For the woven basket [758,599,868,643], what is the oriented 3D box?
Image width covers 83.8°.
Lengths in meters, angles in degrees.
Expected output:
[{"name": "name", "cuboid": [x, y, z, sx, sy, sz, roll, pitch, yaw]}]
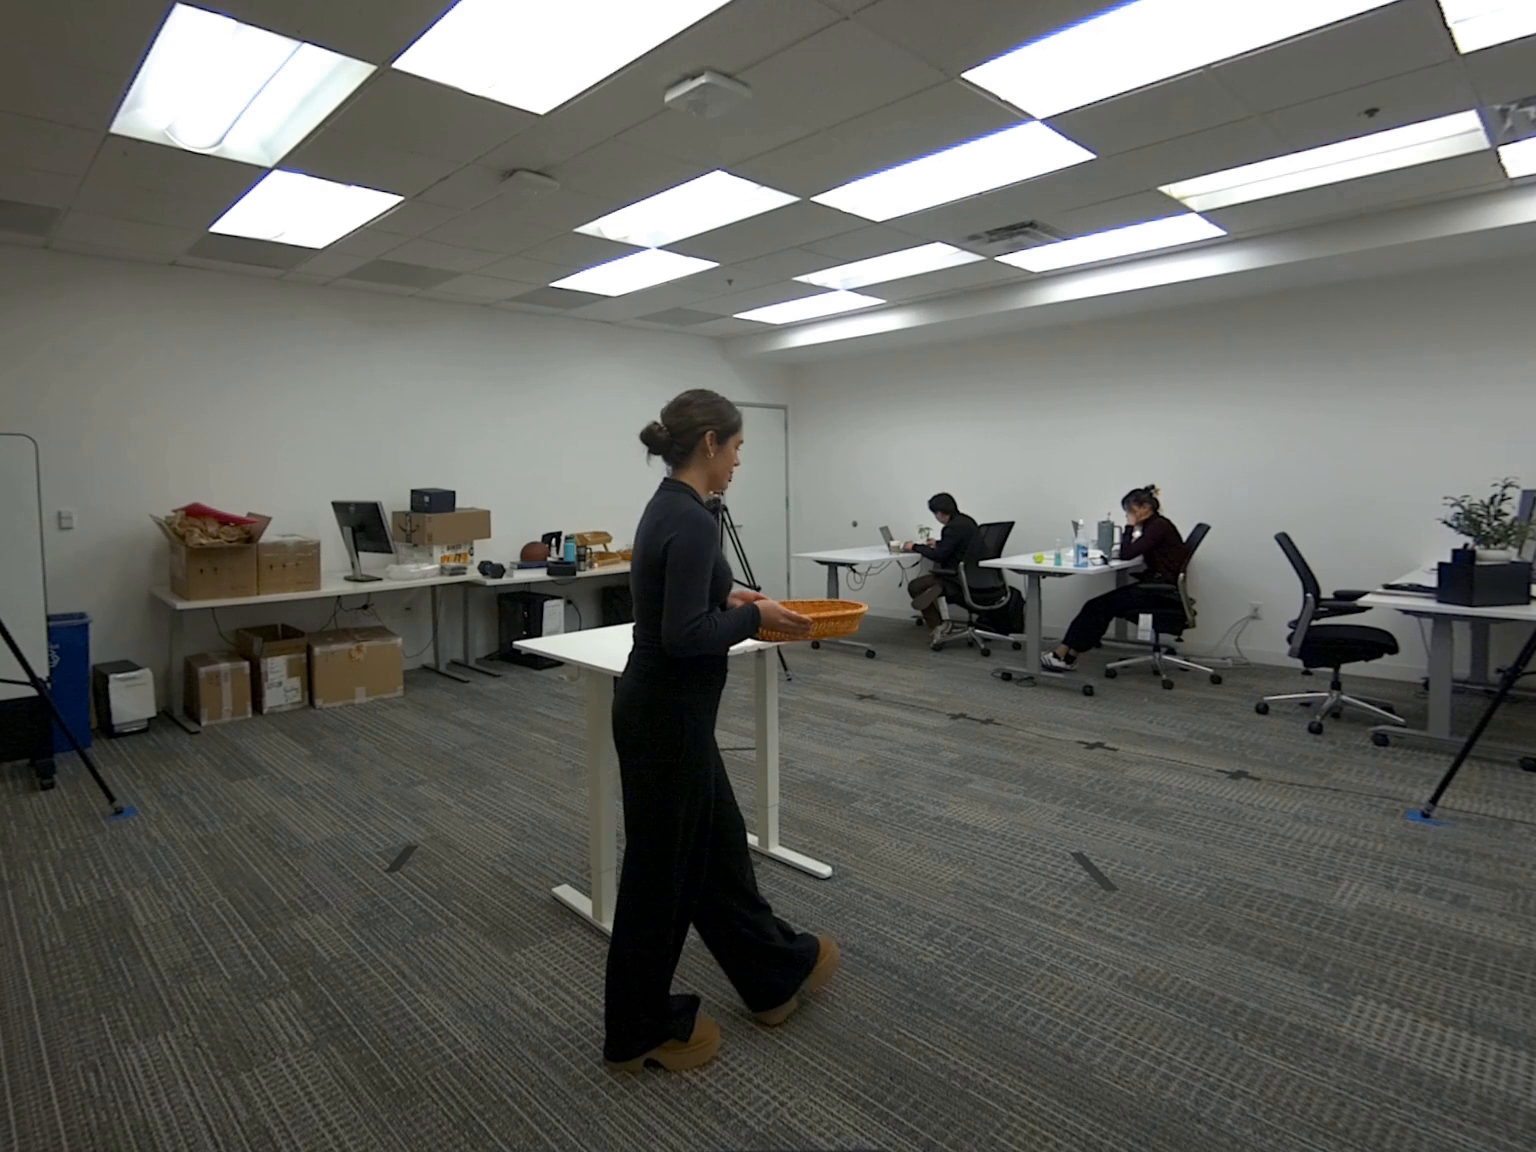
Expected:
[{"name": "woven basket", "cuboid": [0.078, 0.108, 2.144, 0.347, 0.073, 0.256, -1, 5, -11]}]
